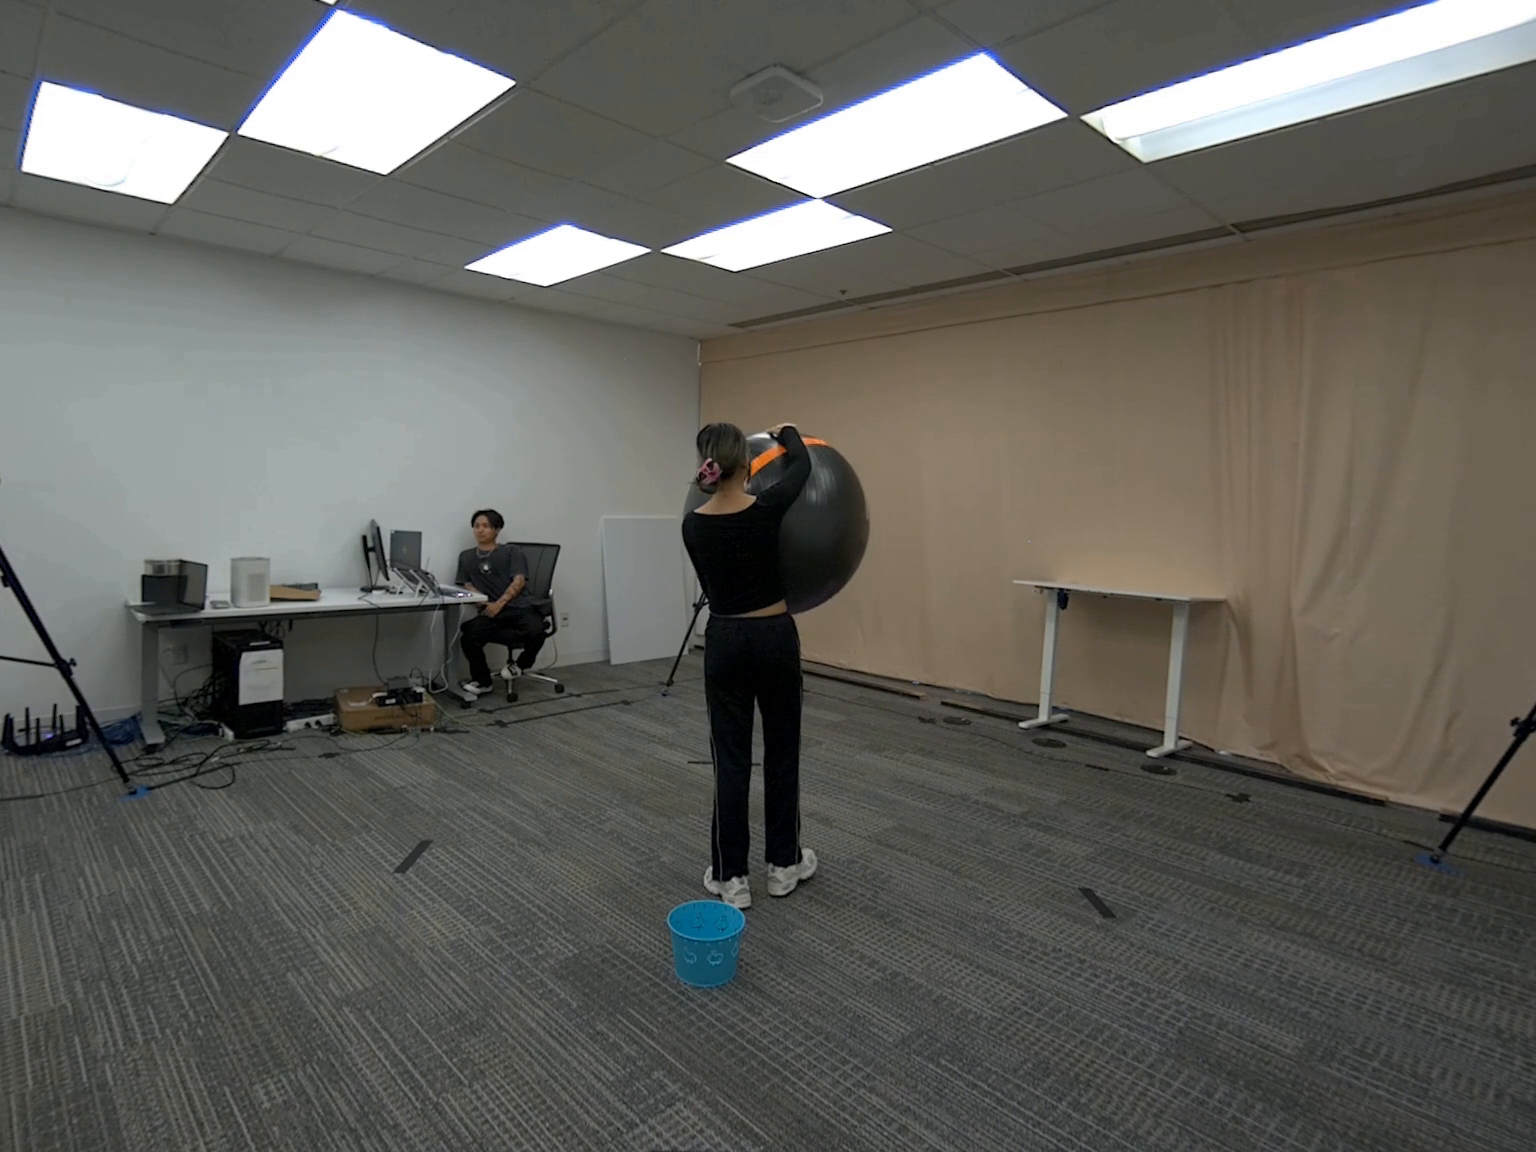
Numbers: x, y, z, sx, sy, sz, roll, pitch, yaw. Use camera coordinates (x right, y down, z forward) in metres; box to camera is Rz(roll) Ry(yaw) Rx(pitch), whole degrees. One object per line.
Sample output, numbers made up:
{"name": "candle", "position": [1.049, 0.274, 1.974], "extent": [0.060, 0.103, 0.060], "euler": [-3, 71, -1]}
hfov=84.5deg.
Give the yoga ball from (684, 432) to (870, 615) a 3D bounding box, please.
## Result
{"name": "yoga ball", "position": [0.026, -0.213, 3.437], "extent": [0.757, 0.756, 0.761], "euler": [1, 4, -1]}
